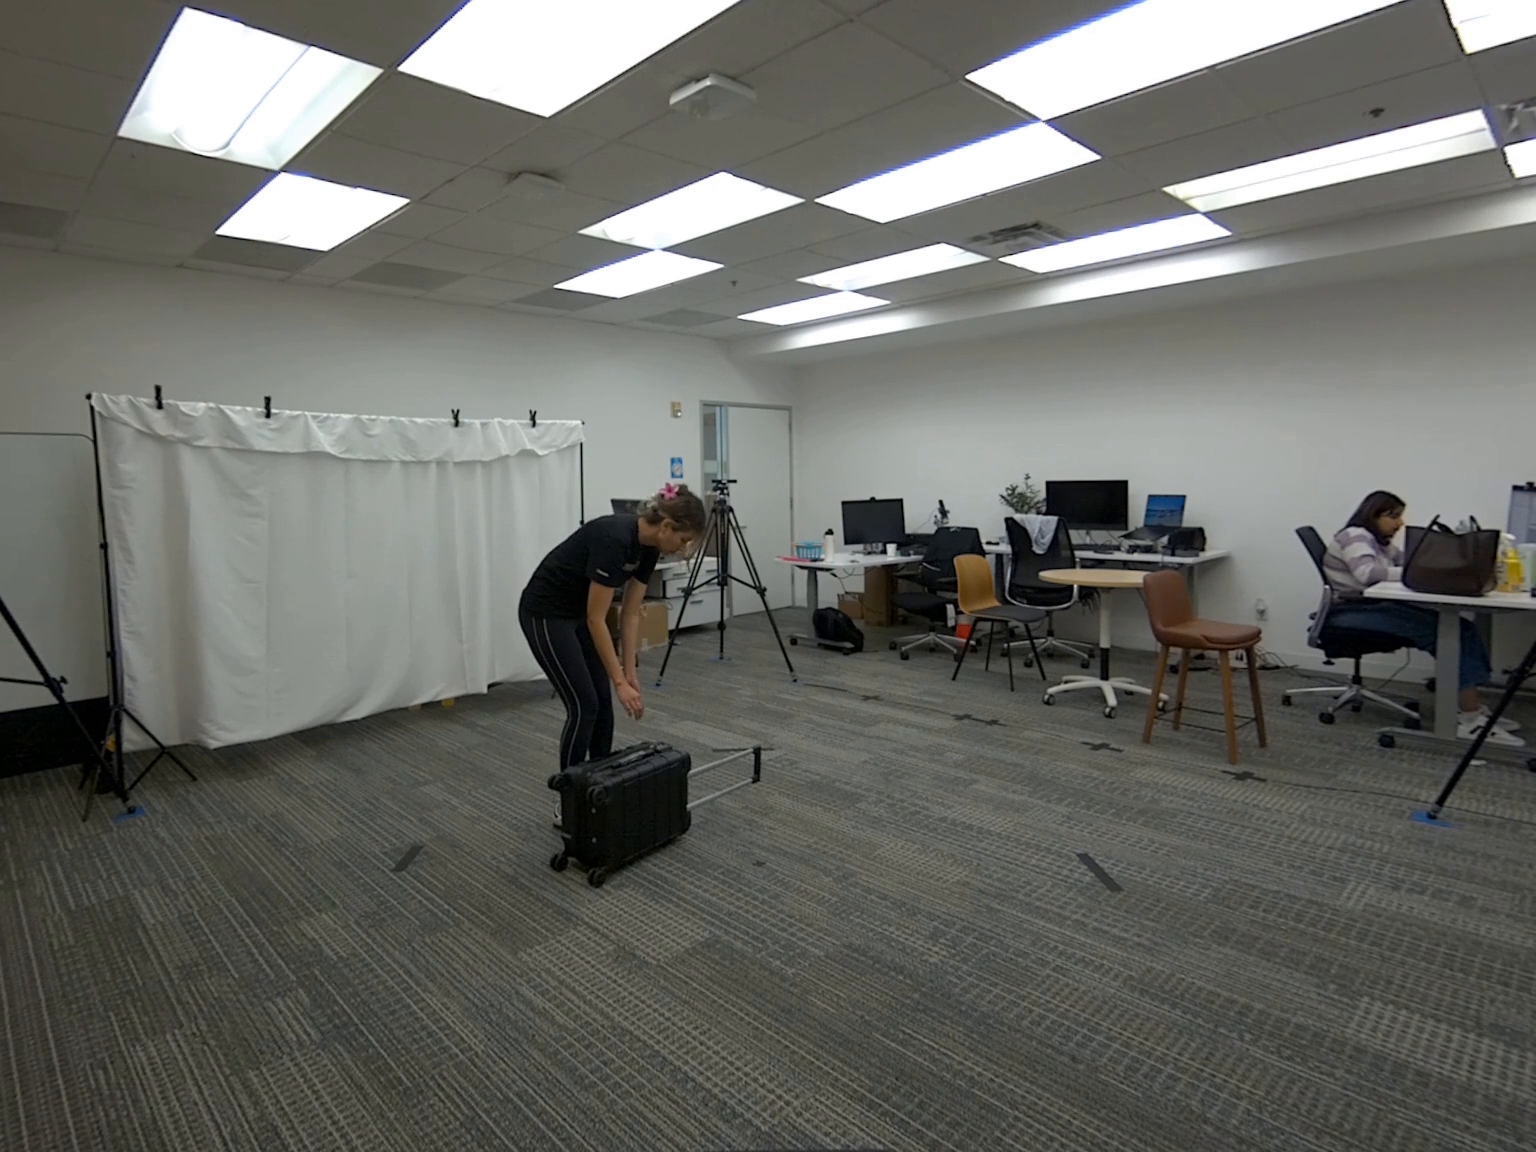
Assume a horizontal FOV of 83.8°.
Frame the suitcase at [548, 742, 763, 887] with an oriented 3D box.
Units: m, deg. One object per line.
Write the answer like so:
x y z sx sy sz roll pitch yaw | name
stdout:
-0.412 0.838 3.372 0.264 0.382 0.955 2 7 35 | suitcase
